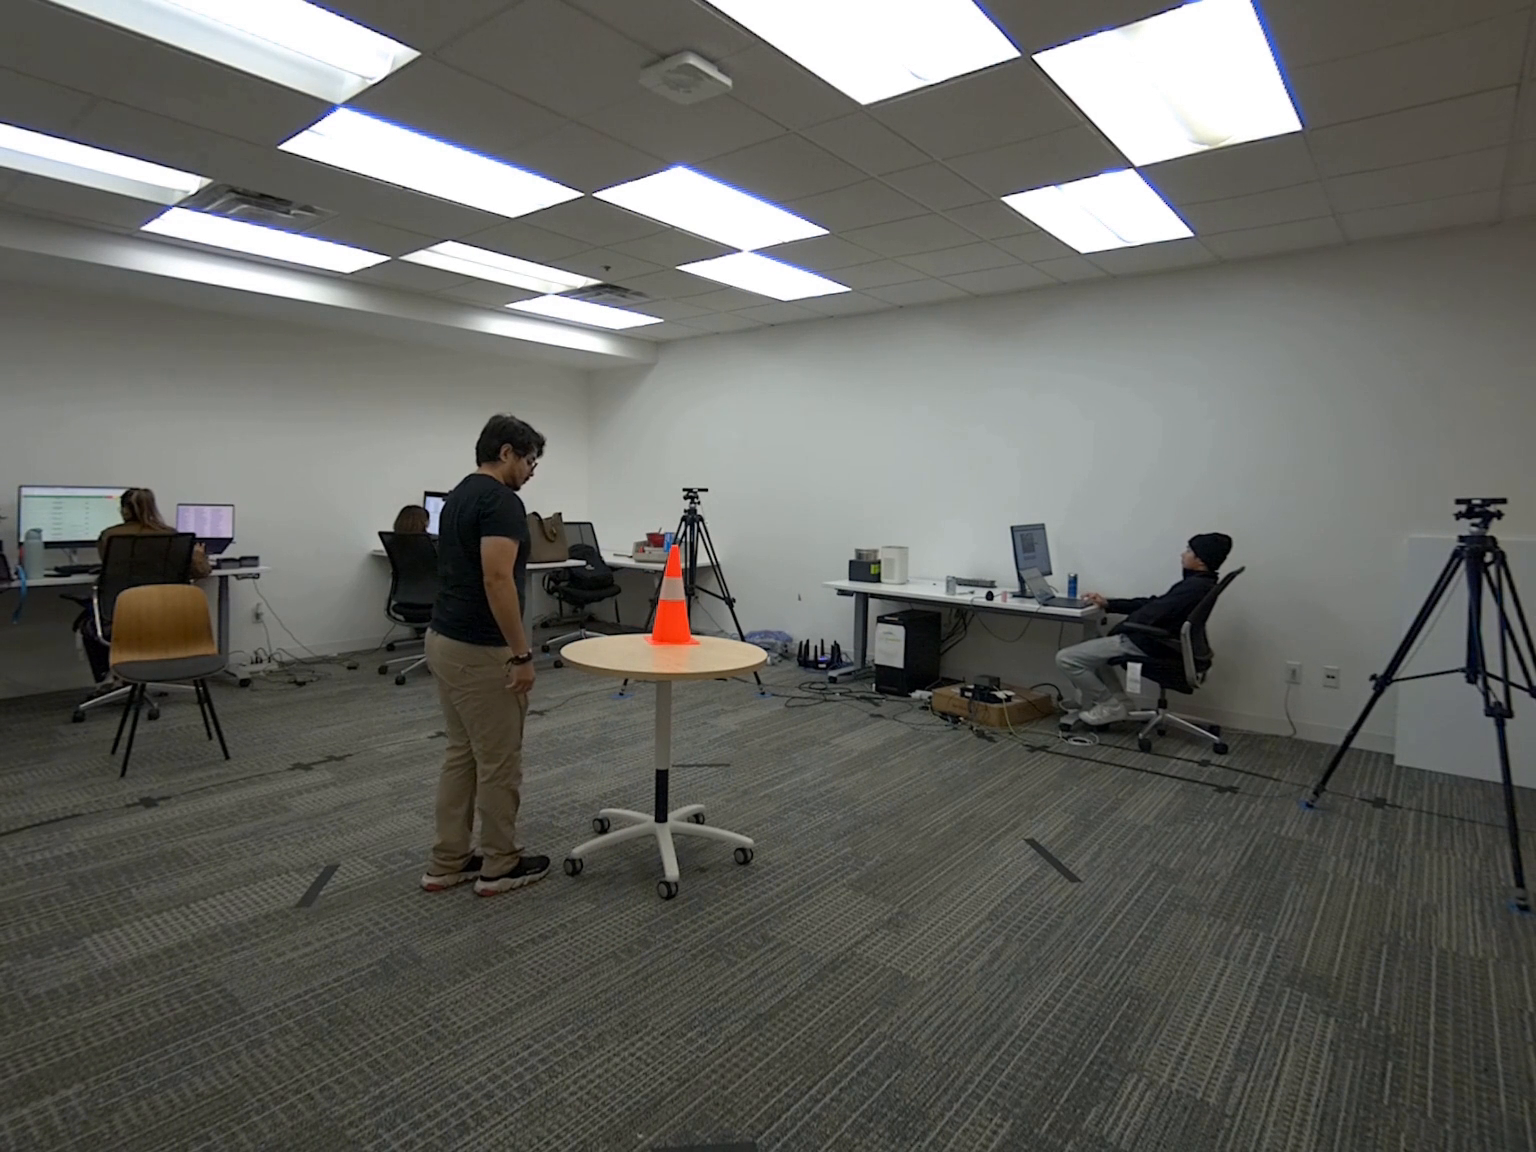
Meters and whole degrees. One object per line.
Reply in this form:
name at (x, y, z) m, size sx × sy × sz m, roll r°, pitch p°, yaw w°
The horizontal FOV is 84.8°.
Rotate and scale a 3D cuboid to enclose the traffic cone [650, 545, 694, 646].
traffic cone at (-0.399, 0.072, 3.390) m, size 0.199 × 0.382 × 0.210 m, roll 0°, pitch 4°, yaw -20°
